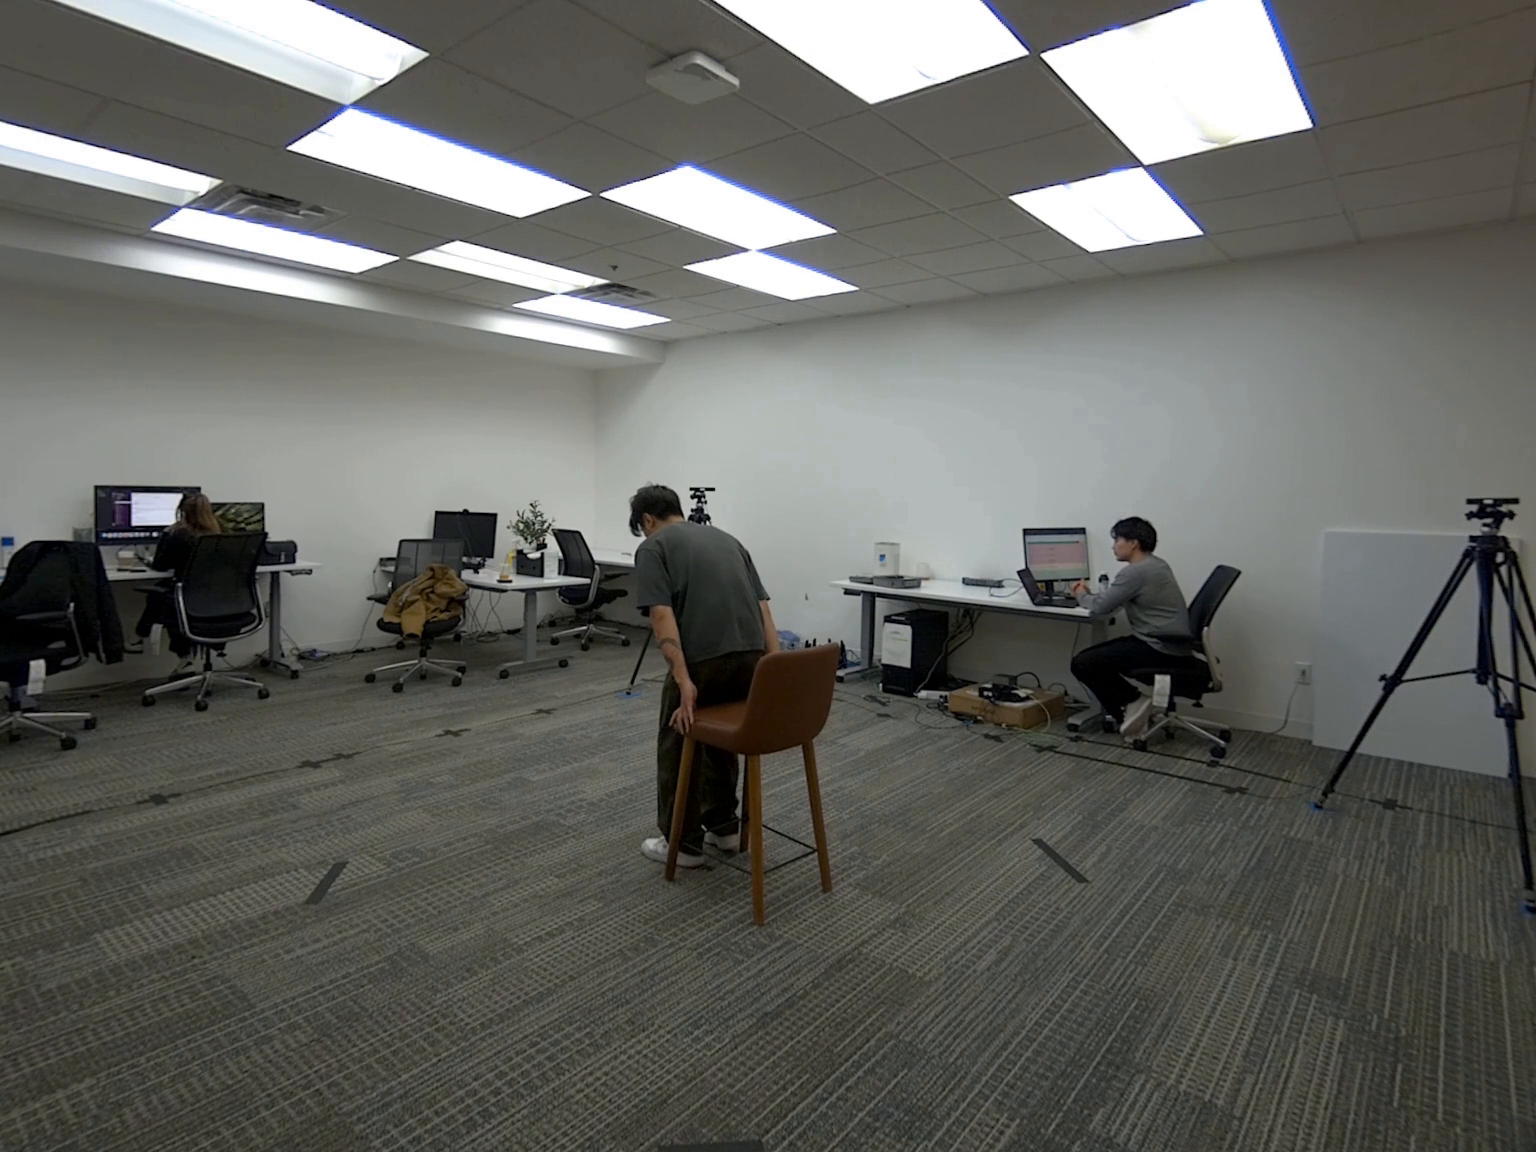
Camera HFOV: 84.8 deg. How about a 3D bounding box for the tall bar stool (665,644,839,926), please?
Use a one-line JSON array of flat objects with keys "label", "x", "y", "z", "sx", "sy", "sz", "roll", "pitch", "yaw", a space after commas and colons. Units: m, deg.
[{"label": "tall bar stool", "x": -0.056, "y": 0.644, "z": 2.961, "sx": 0.484, "sy": 0.887, "sz": 0.442, "roll": 6, "pitch": 5, "yaw": 43}]
